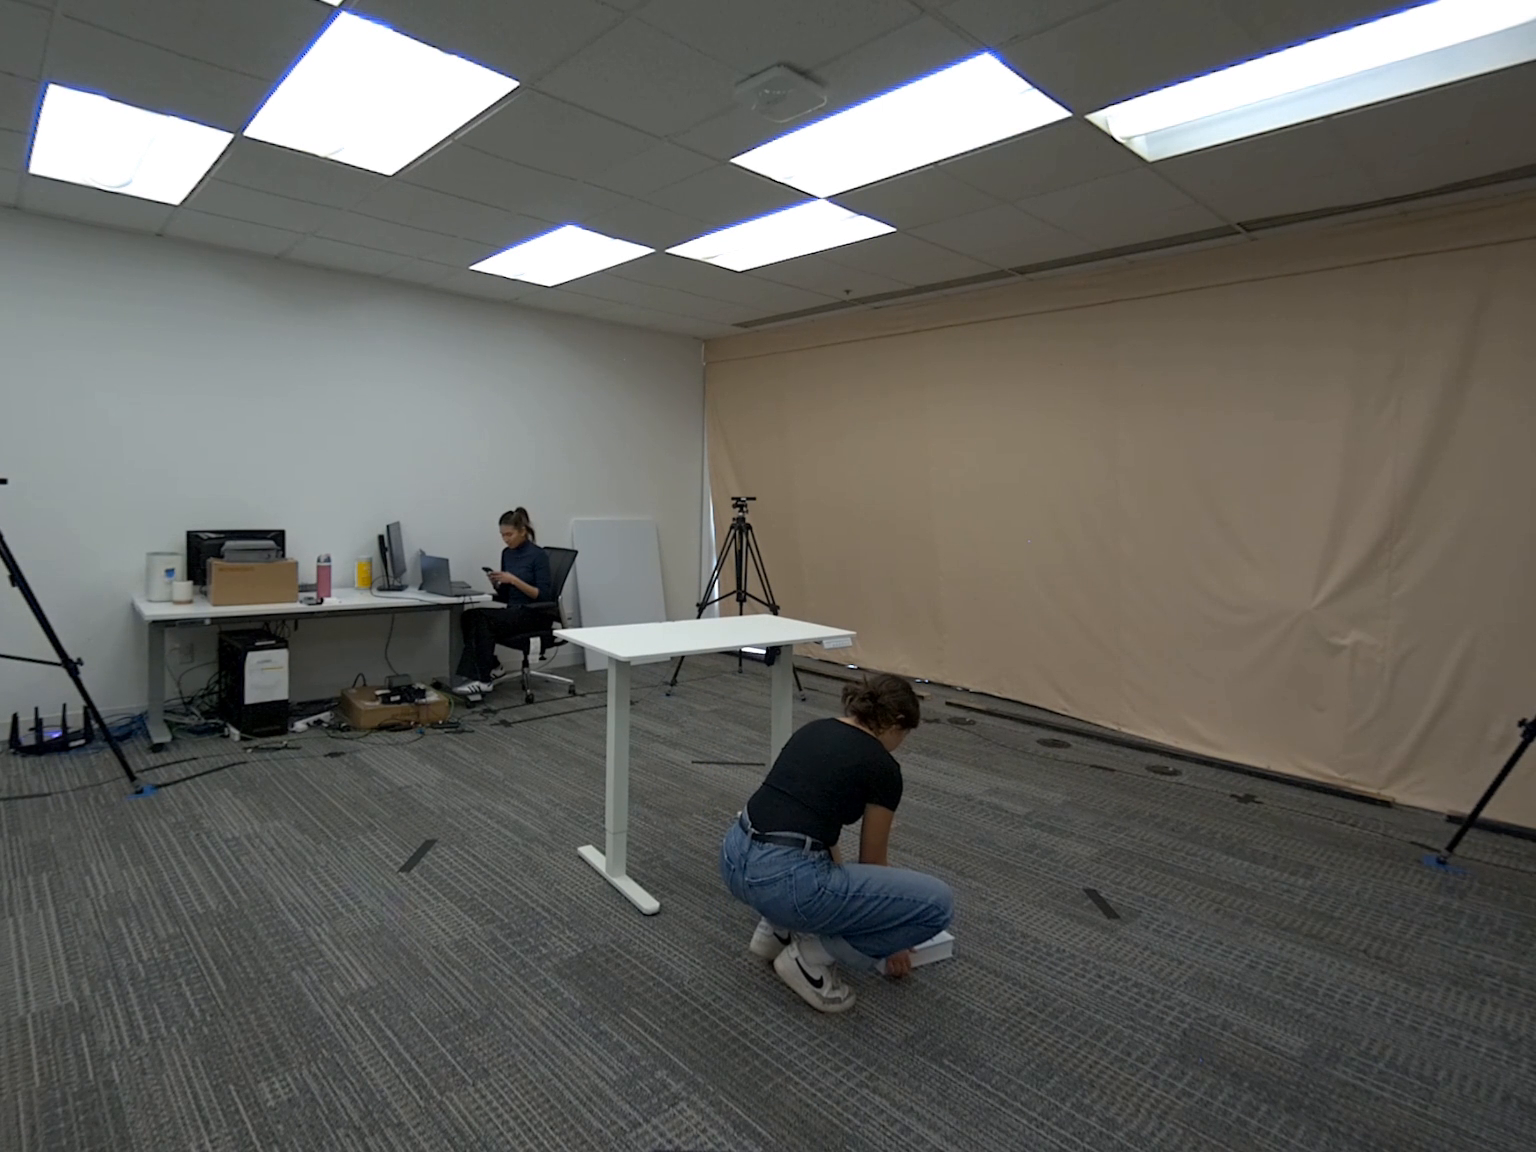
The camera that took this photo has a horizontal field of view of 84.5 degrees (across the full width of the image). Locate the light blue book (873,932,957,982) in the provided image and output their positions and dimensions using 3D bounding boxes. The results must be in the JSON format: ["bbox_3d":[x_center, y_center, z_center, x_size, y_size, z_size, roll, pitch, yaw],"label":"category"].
[{"bbox_3d":[0.412,1.139,2.610,0.256,0.059,0.195,-1,7,-26],"label":"light blue book"}]
